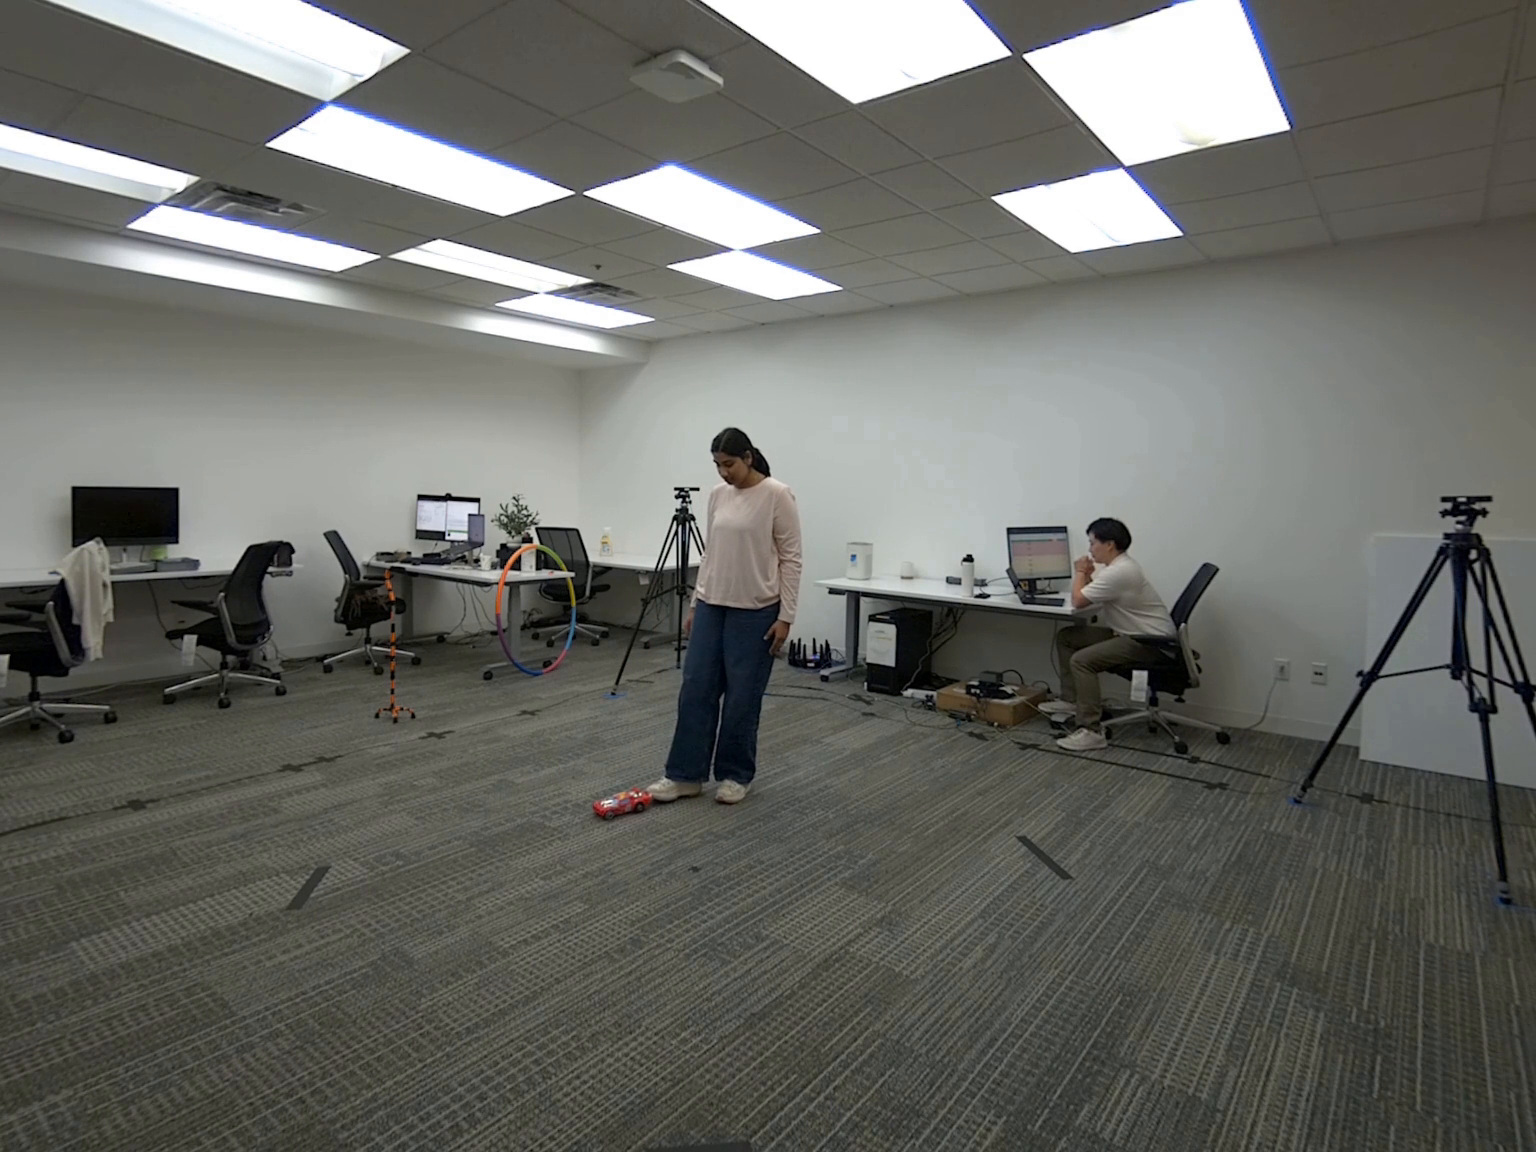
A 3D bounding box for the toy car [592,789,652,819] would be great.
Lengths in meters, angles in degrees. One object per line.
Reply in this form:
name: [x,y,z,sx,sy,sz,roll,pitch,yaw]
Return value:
toy car: [-0.632,0.974,3.644,0.249,0.082,0.134,-17,13,-33]
